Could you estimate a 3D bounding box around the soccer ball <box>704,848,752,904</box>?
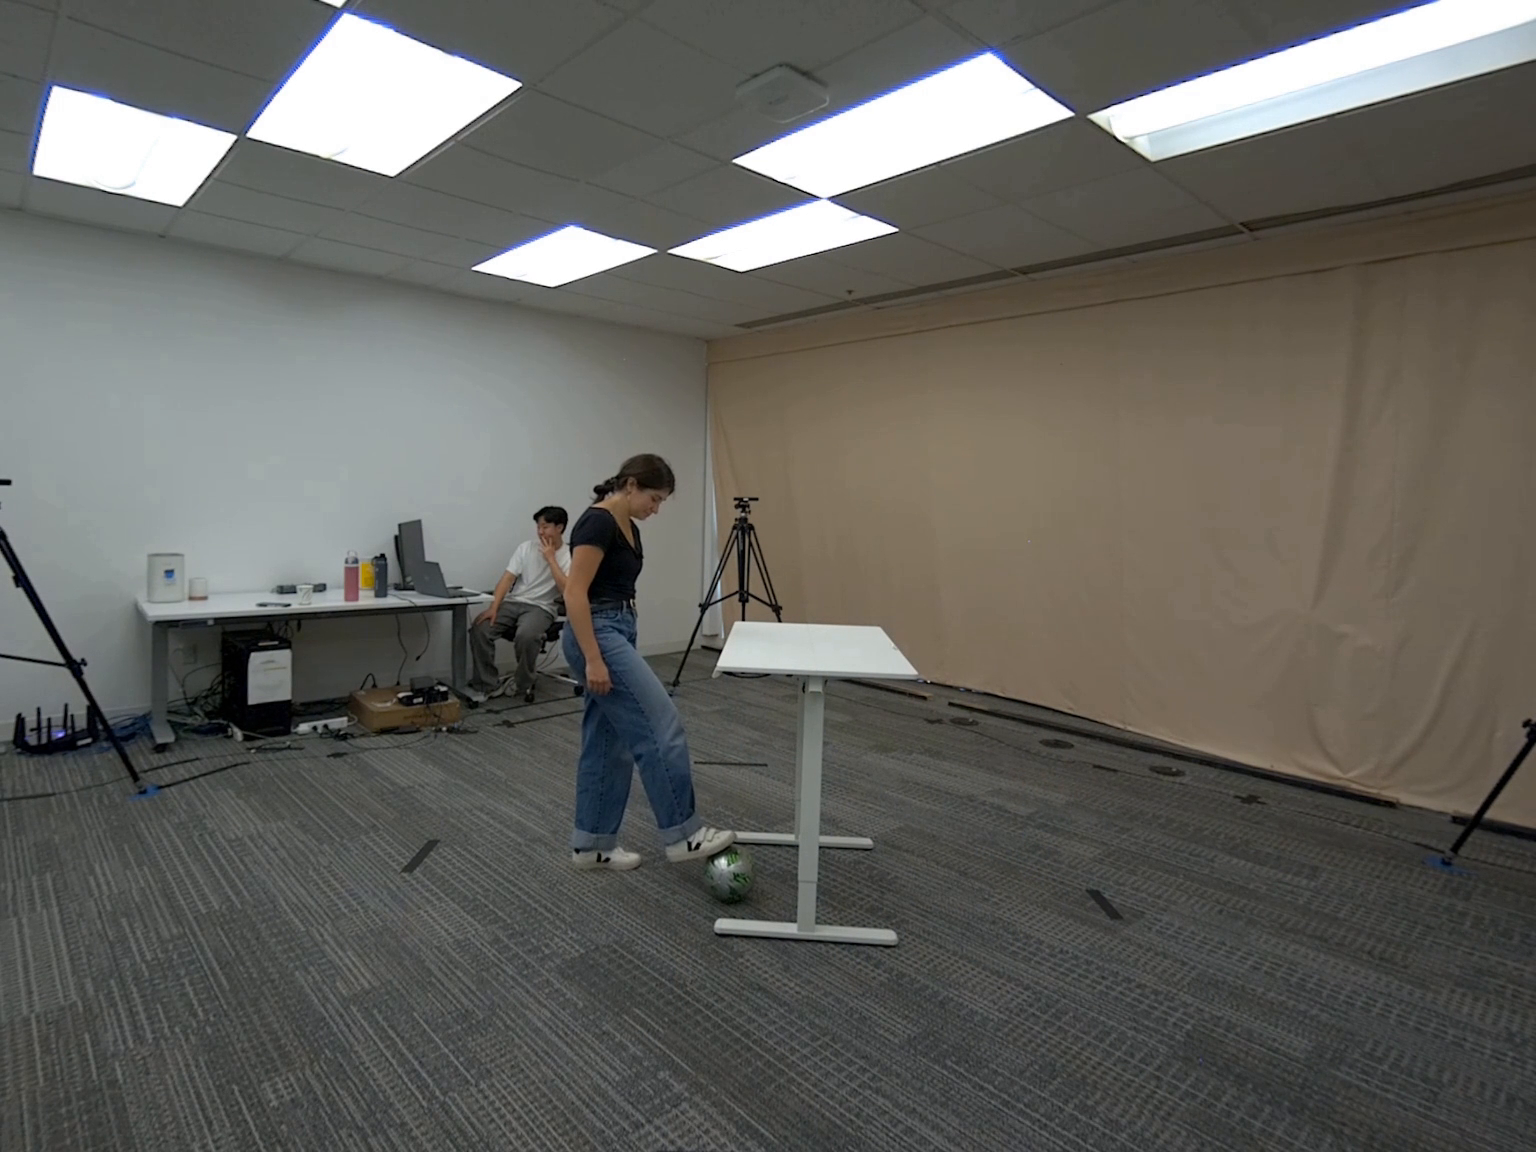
[{"bbox_3d":[-0.144,1.039,2.910,0.187,0.187,0.188,1,4,-1],"label":"soccer ball"}]
